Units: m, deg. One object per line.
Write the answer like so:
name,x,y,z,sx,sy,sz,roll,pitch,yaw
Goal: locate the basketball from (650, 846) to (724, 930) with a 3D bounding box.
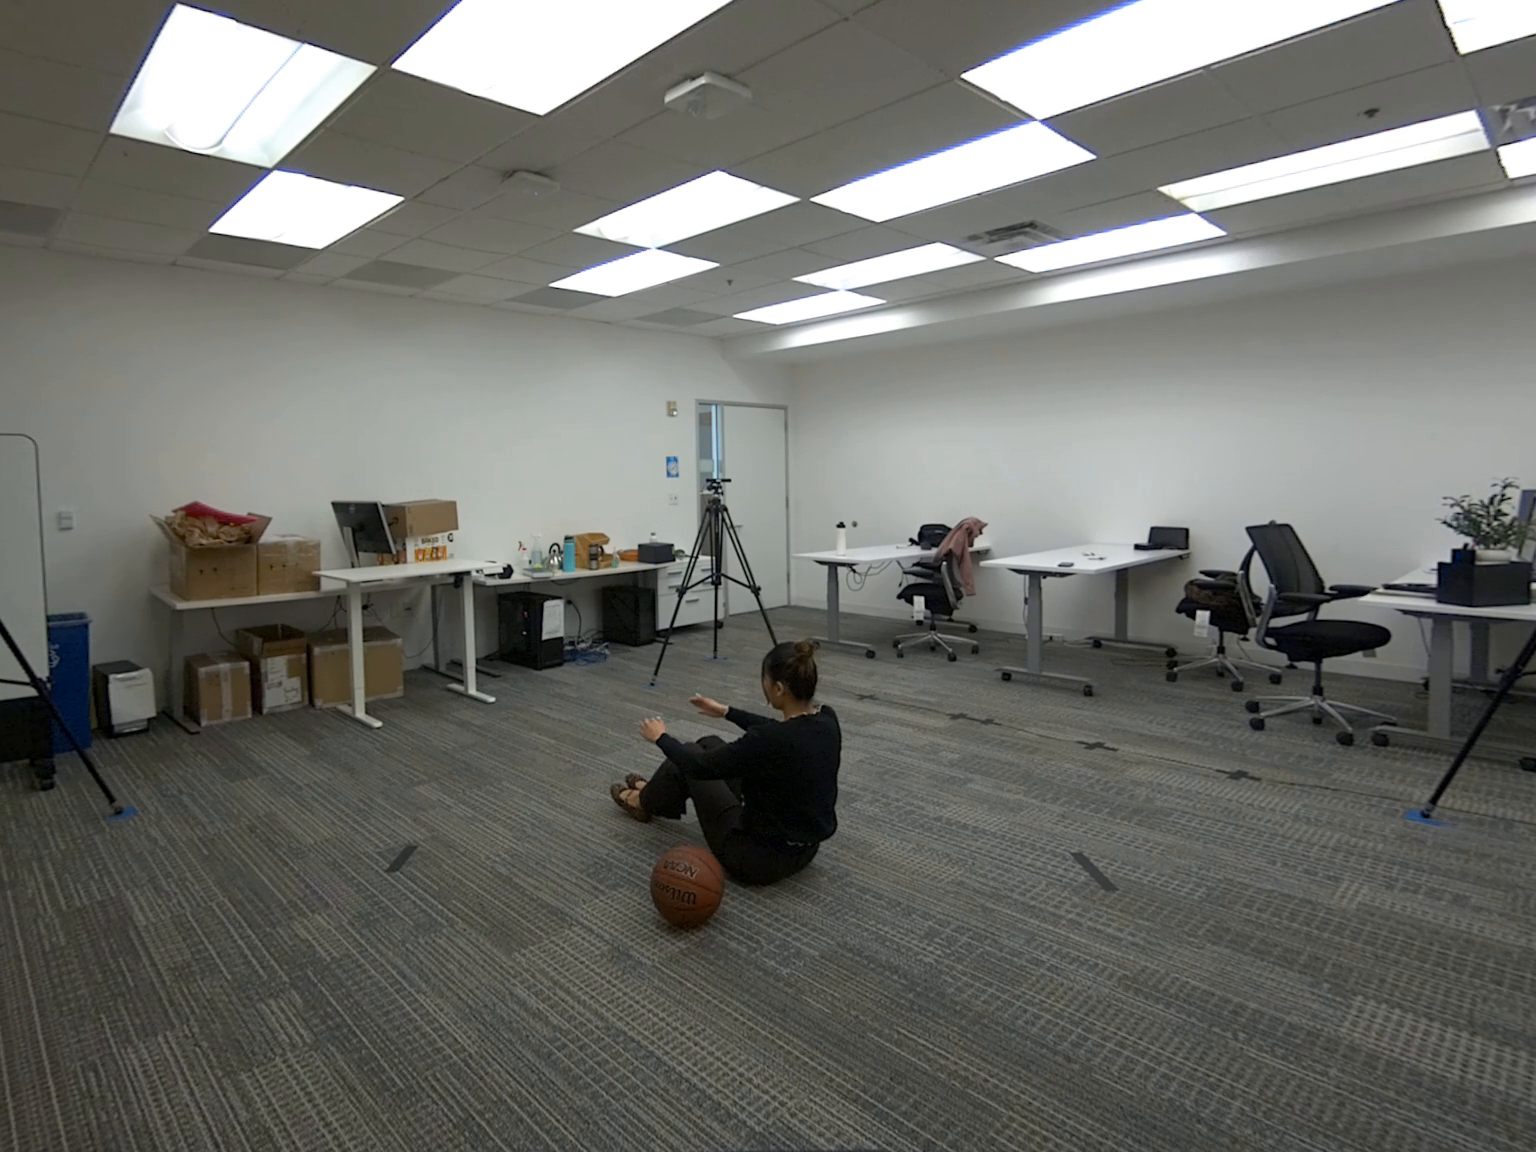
basketball,-0.254,0.981,2.703,0.236,0.235,0.237,-1,5,-2
